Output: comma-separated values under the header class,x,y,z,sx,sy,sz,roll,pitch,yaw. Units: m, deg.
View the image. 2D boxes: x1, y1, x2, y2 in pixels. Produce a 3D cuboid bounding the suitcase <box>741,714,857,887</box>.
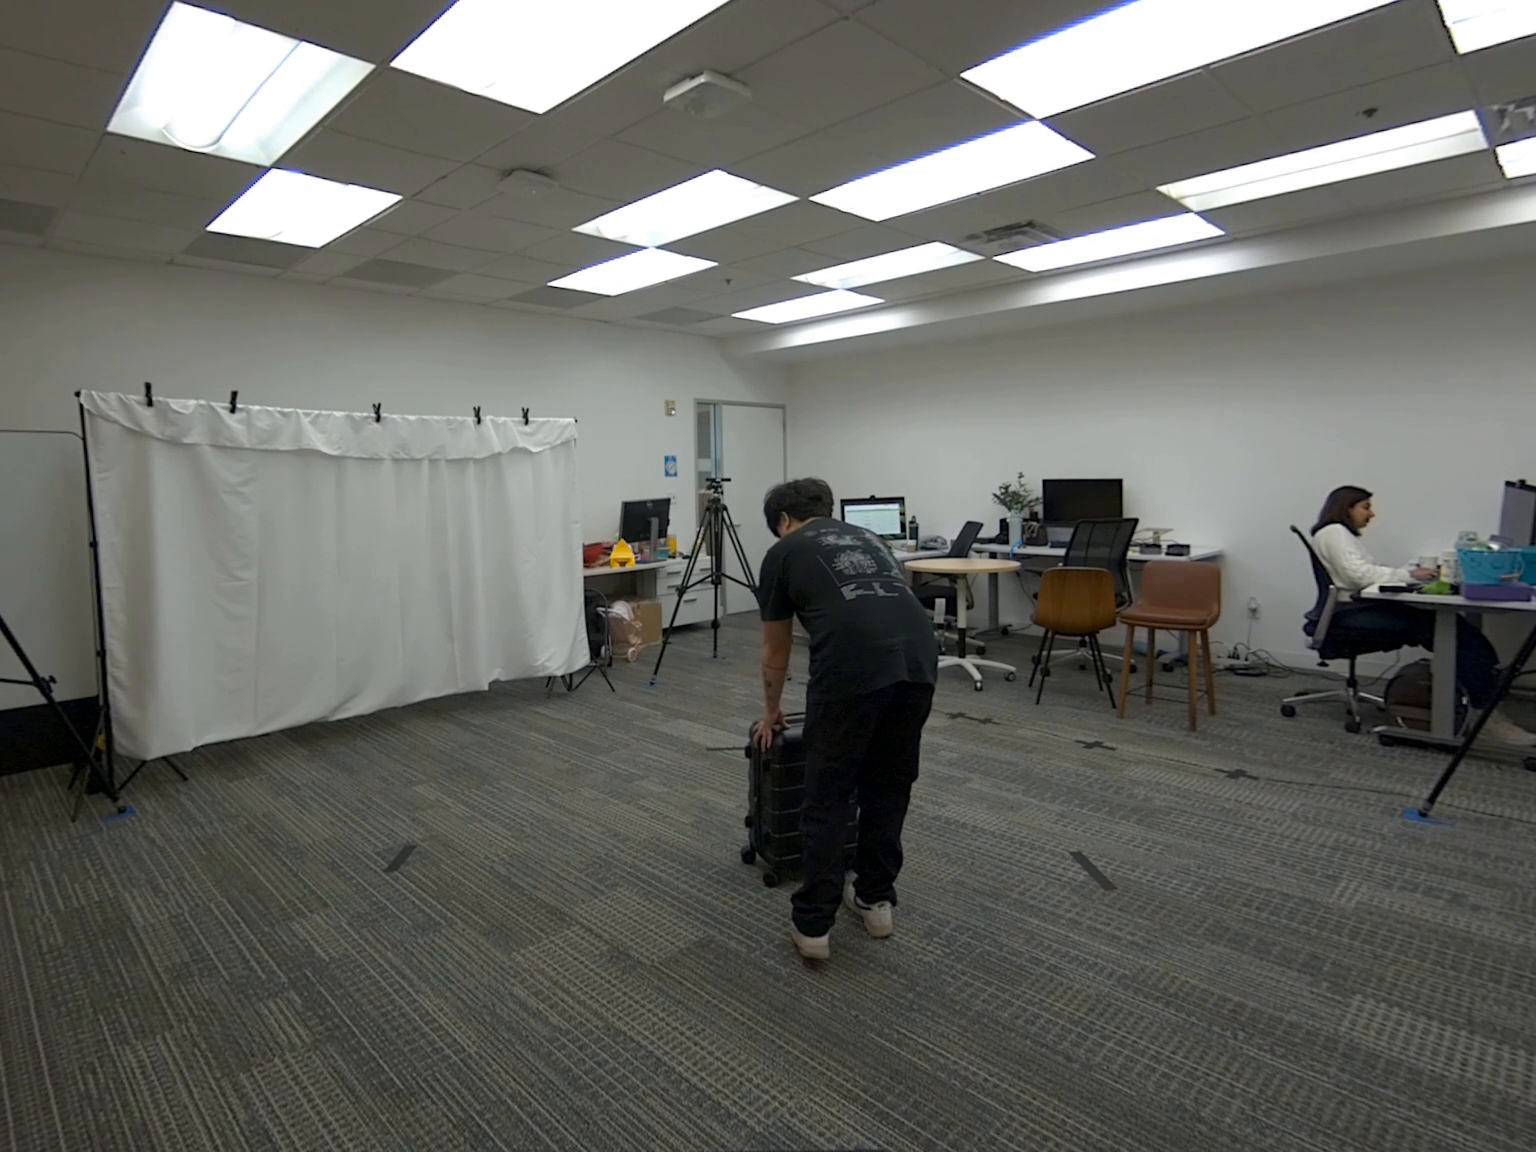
class,x,y,z,sx,sy,sz,roll,pitch,yaw
suitcase,0.122,0.772,3.057,0.368,0.547,0.254,-1,5,-23
